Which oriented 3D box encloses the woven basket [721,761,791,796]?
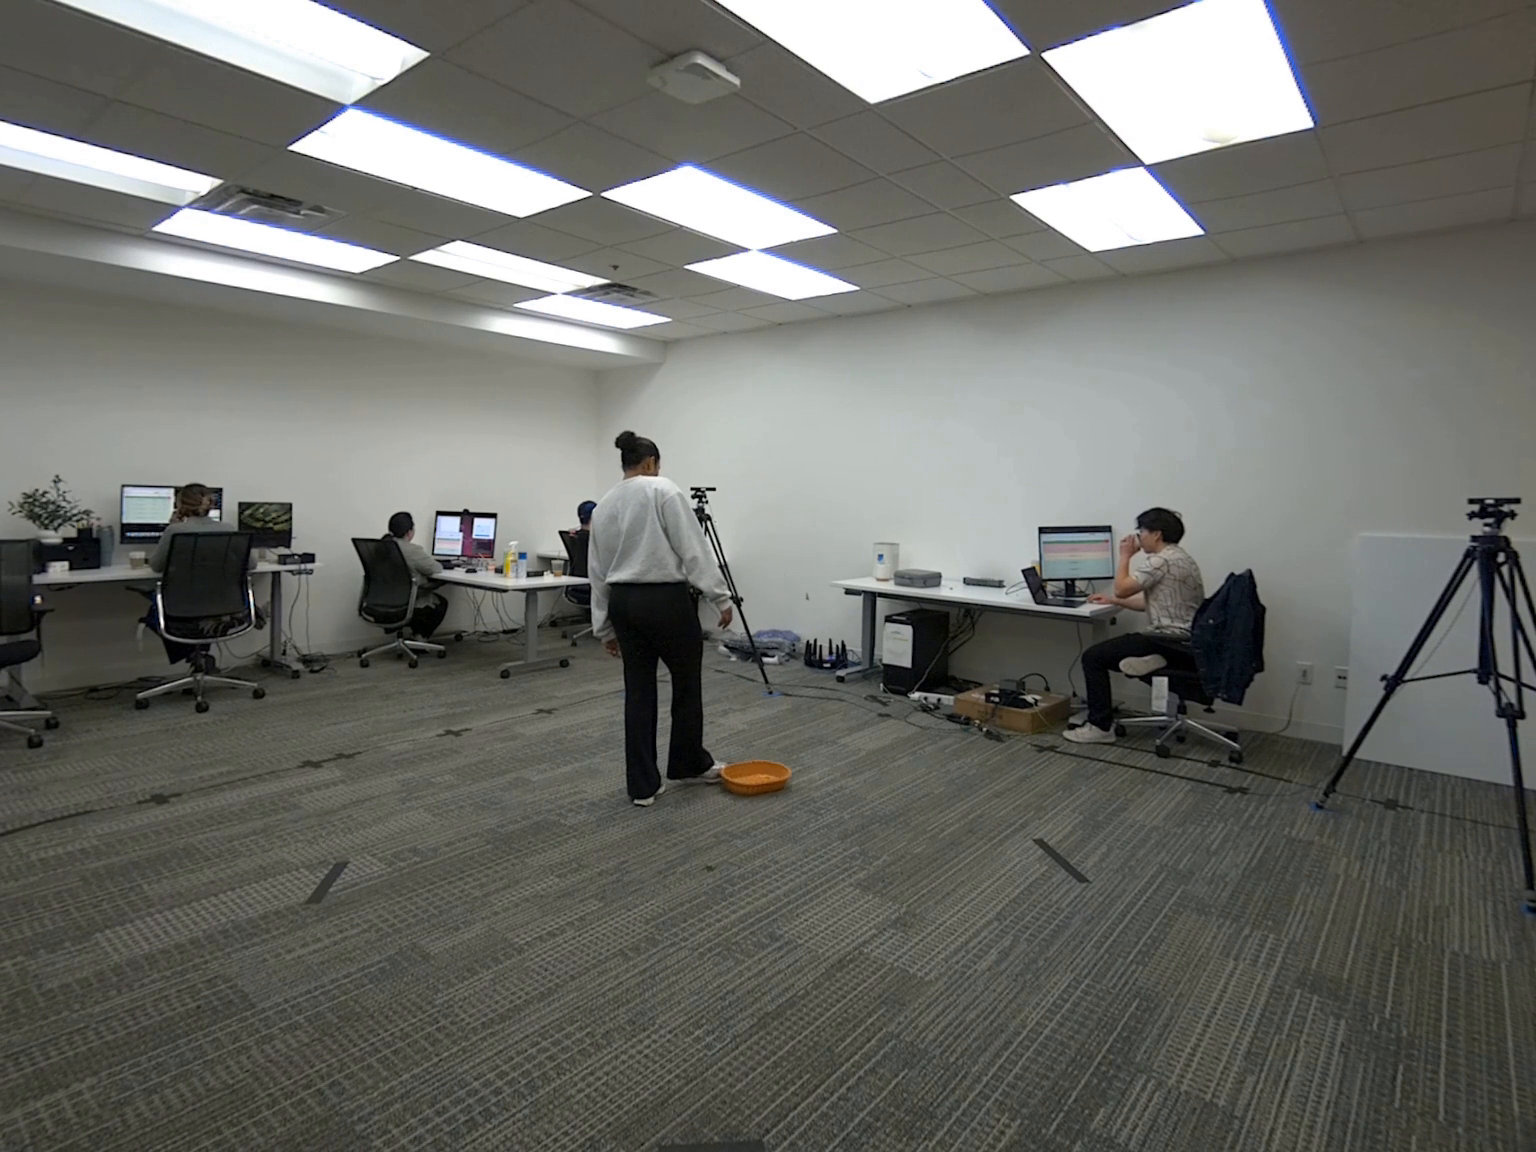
[{"bbox_3d":[-0.070,0.945,3.969,0.342,0.073,0.260,-1,9,-25],"label":"woven basket"}]
